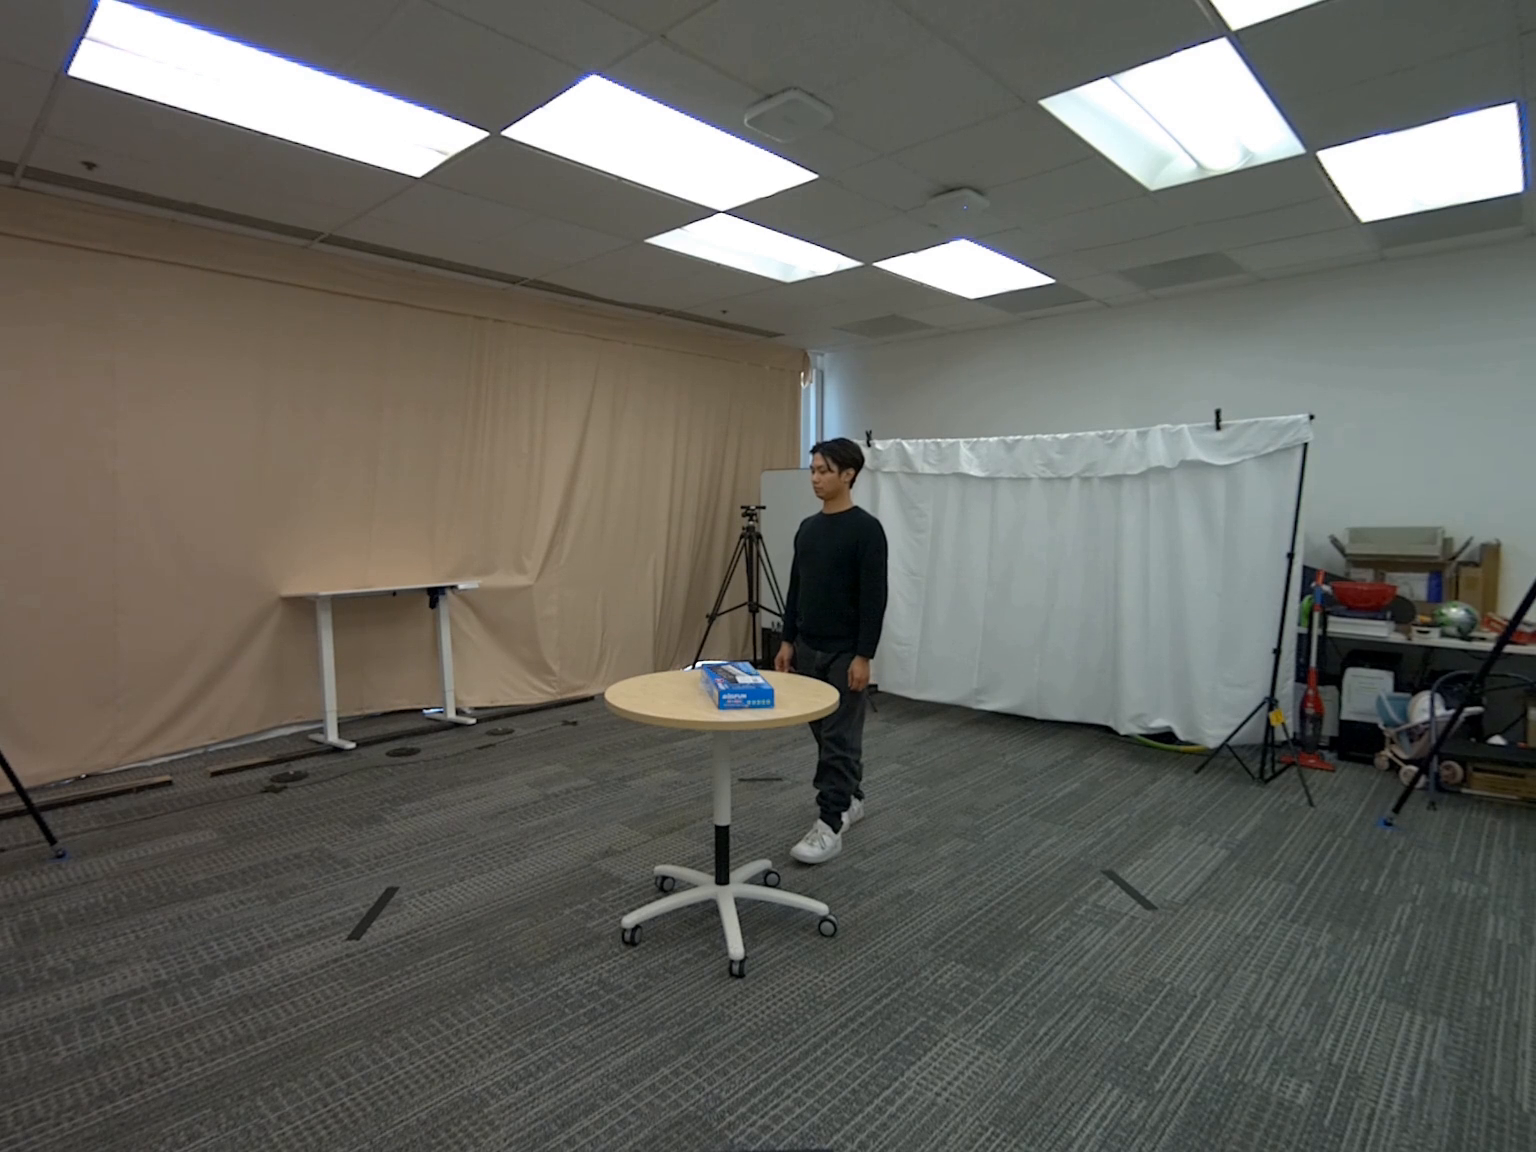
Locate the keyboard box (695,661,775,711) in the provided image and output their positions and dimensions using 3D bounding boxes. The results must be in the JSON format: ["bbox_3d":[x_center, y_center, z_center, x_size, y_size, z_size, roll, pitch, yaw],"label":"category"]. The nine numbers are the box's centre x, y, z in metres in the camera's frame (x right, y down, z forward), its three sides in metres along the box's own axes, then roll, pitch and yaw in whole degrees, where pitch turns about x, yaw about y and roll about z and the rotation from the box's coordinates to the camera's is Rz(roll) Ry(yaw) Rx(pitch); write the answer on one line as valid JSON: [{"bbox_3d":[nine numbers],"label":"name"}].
[{"bbox_3d":[-0.108,0.349,2.741,0.174,0.059,0.443,0,5,-12],"label":"keyboard box"}]
